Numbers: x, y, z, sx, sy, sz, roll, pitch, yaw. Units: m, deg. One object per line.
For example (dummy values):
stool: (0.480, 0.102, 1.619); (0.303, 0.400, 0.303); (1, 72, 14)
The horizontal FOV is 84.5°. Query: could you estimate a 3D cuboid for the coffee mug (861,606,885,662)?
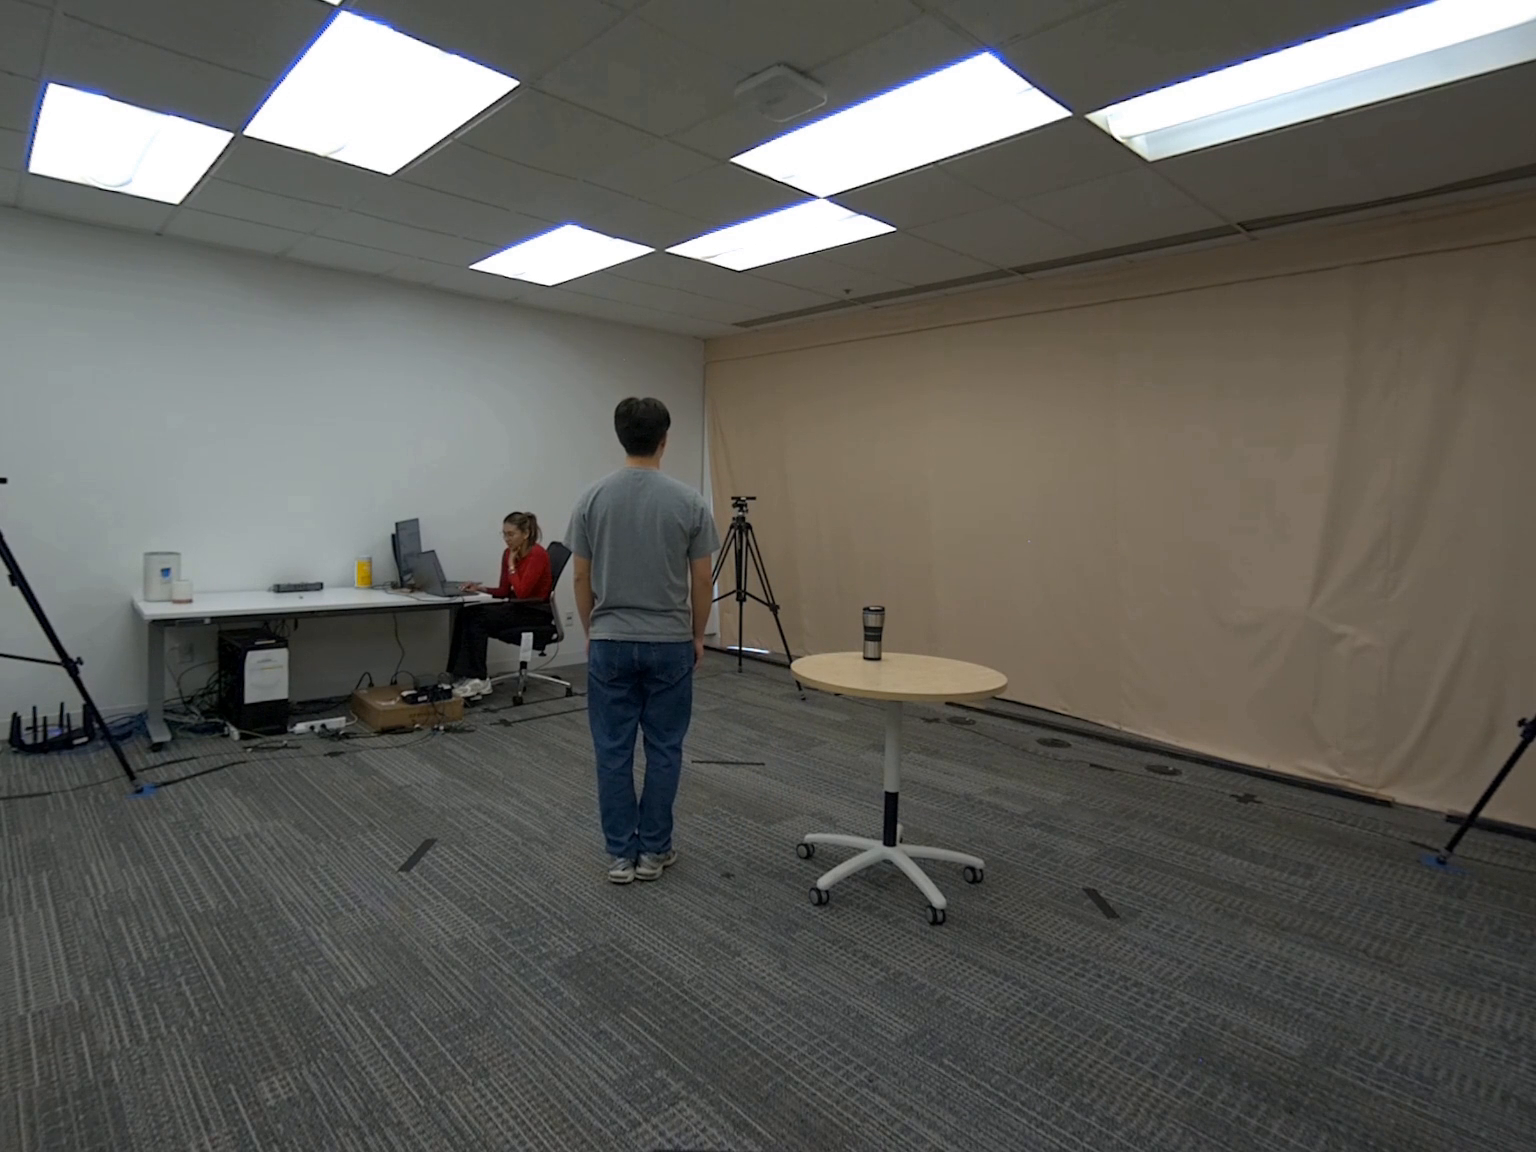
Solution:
coffee mug: (0.431, 0.223, 3.277); (0.090, 0.202, 0.119); (2, 5, 45)
